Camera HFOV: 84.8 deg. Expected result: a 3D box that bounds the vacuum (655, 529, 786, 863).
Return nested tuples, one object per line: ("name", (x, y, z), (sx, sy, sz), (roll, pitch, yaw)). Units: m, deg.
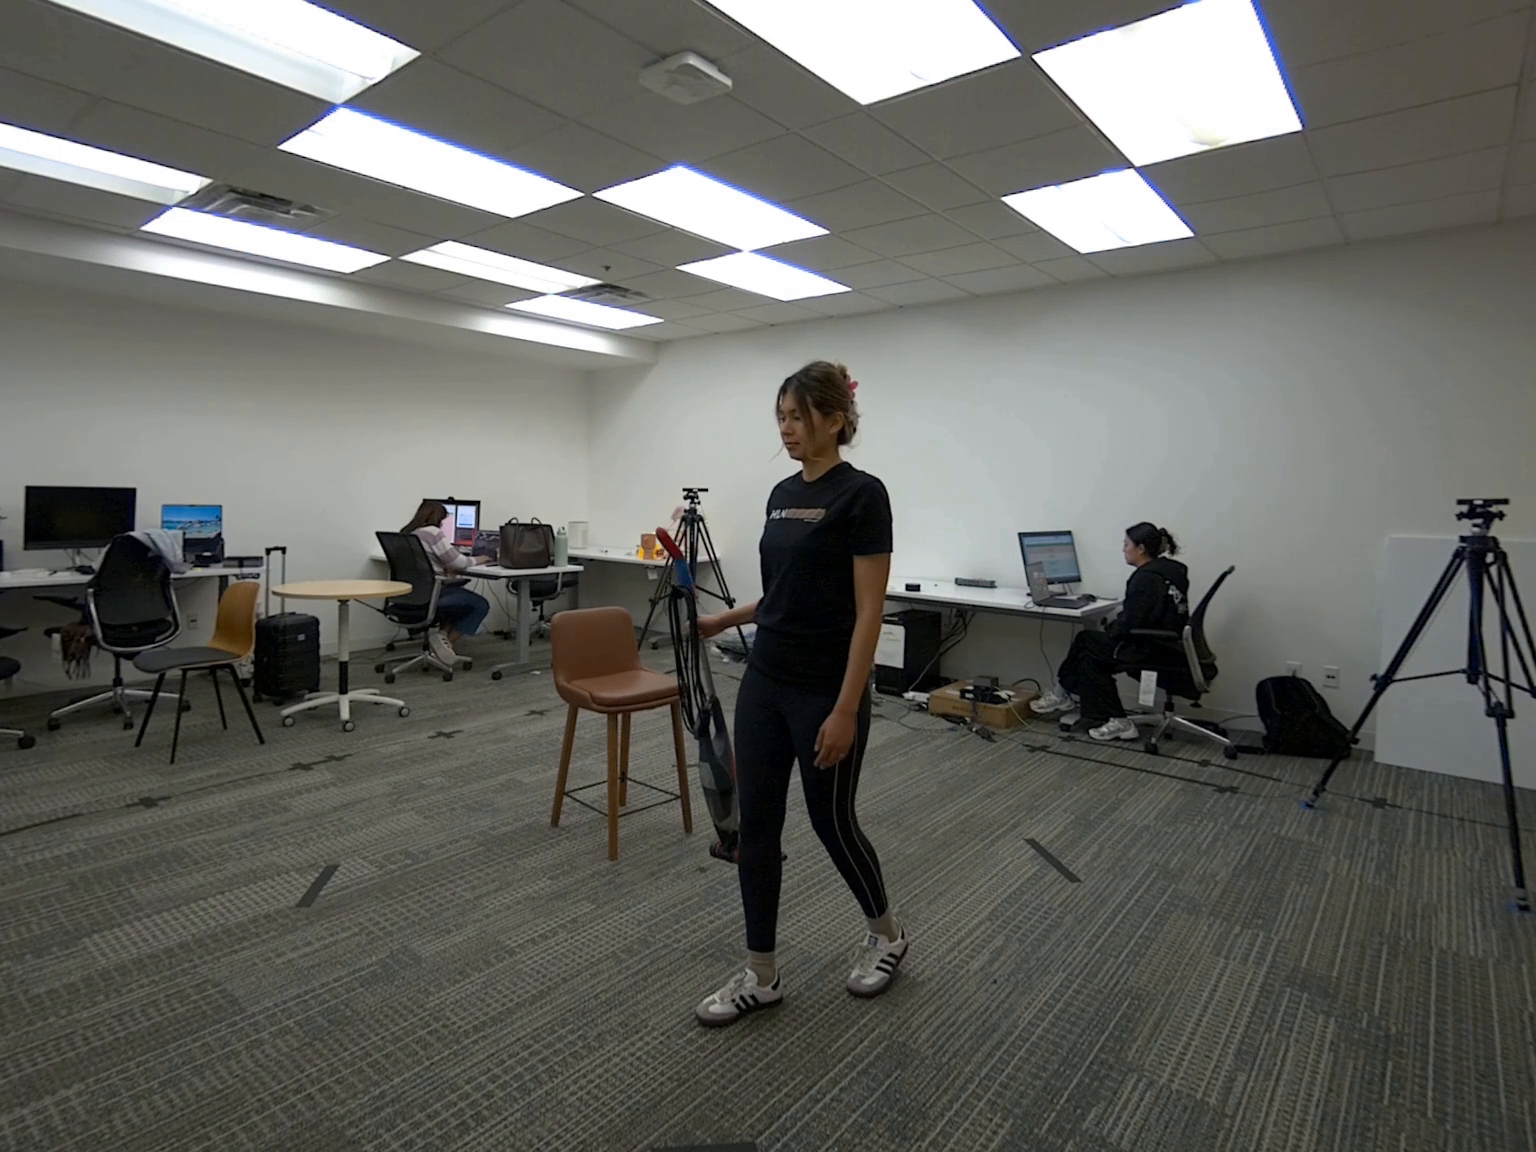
("vacuum", (-0.207, 0.366, 2.460), (0.260, 1.031, 0.142), (-1, 19, 35))
